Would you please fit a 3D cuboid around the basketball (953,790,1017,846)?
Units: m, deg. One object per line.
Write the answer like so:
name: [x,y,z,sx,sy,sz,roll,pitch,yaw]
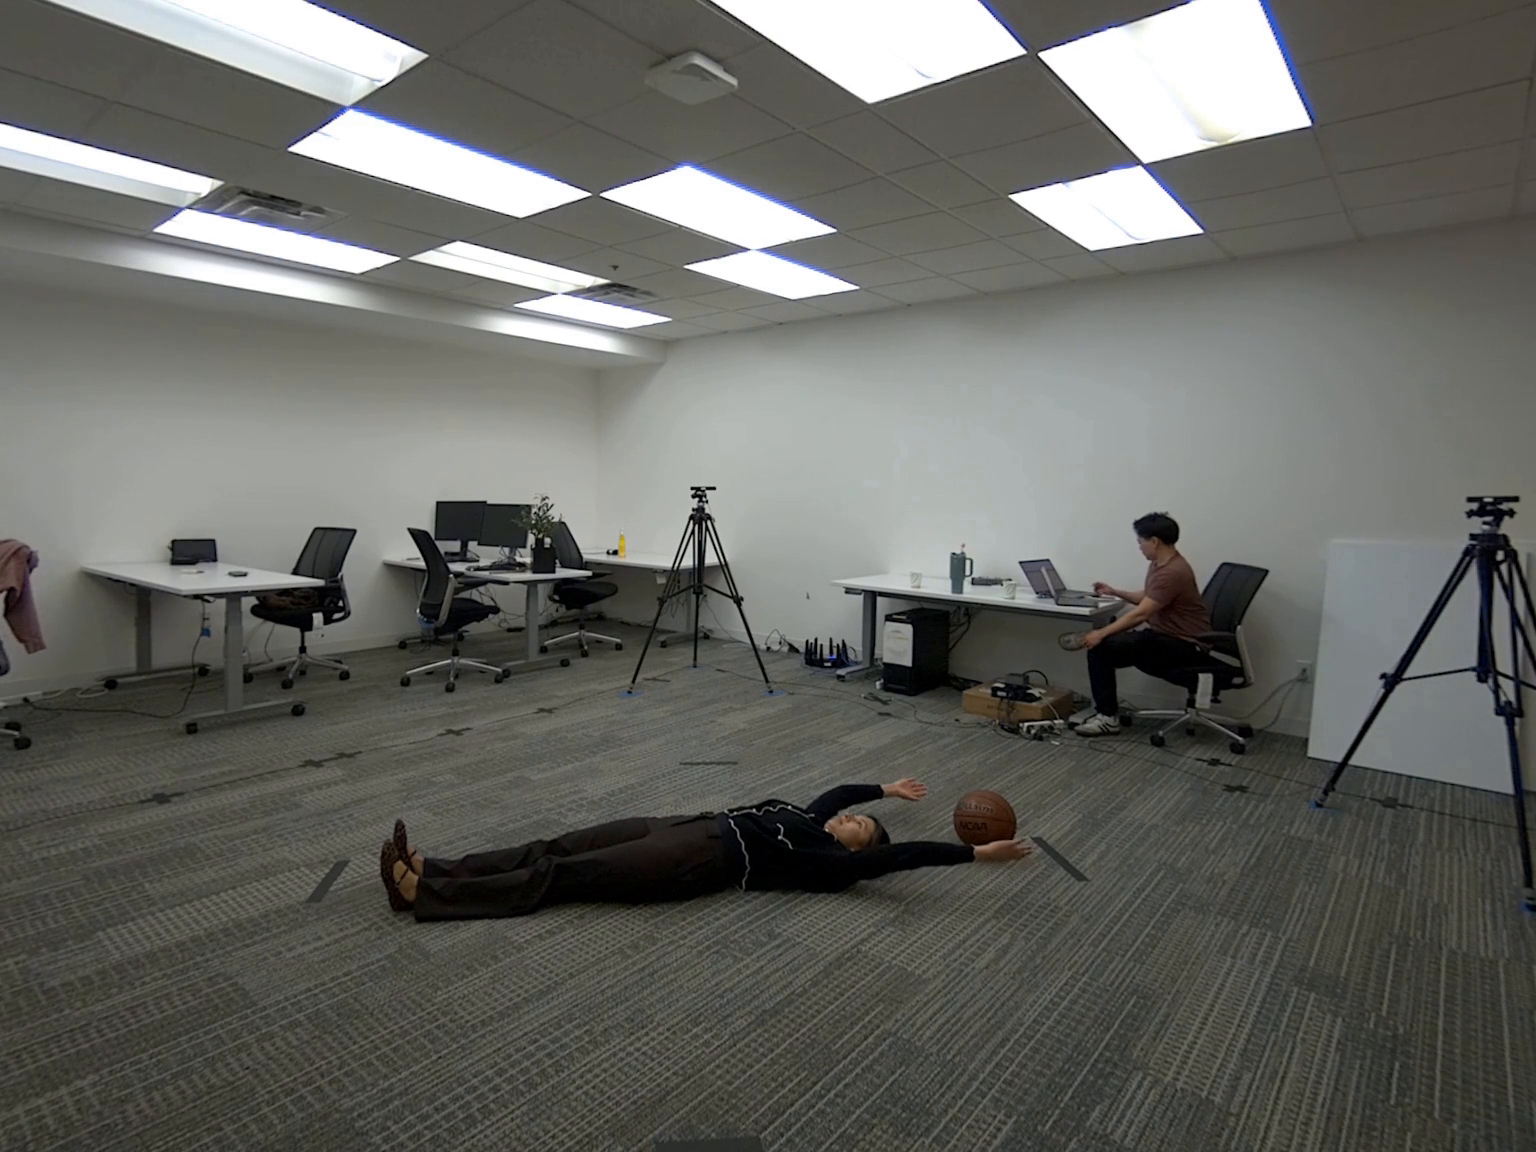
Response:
basketball: [0.832,0.946,3.309,0.236,0.235,0.237,1,4,-2]
